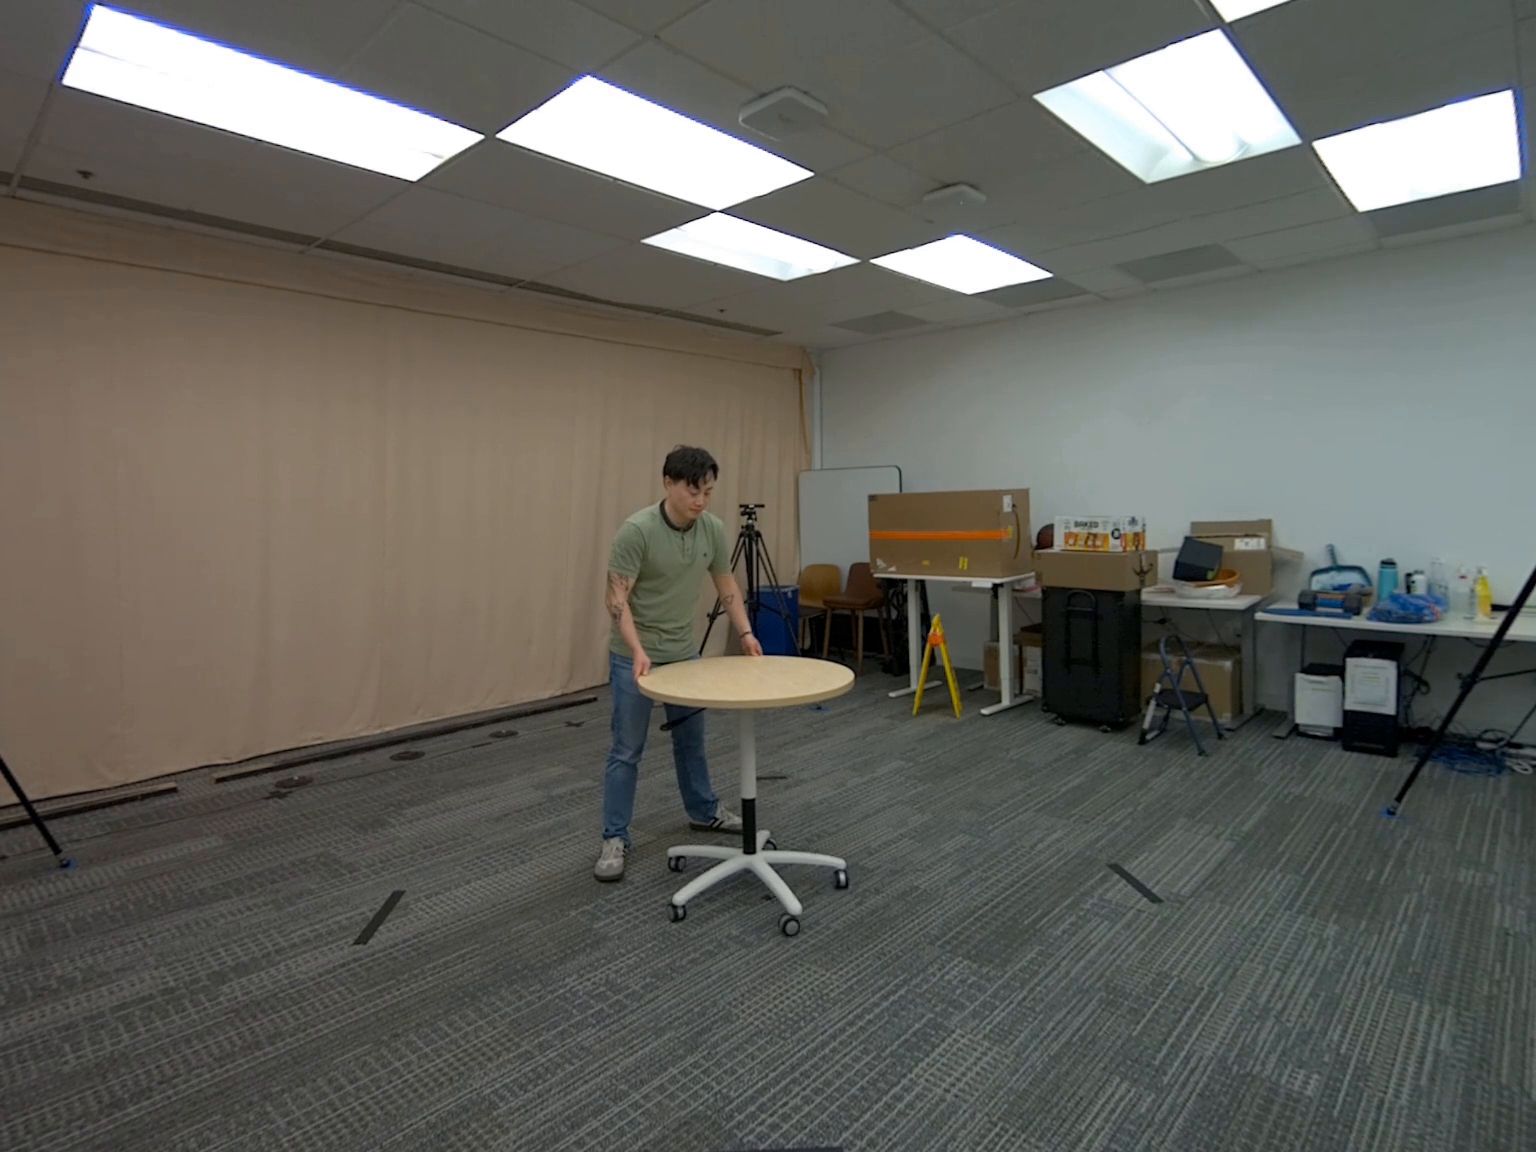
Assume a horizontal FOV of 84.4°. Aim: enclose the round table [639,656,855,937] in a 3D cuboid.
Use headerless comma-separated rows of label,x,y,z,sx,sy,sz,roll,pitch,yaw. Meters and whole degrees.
round table,-0.072,0.747,3.020,0.763,0.792,0.766,-2,4,-2
